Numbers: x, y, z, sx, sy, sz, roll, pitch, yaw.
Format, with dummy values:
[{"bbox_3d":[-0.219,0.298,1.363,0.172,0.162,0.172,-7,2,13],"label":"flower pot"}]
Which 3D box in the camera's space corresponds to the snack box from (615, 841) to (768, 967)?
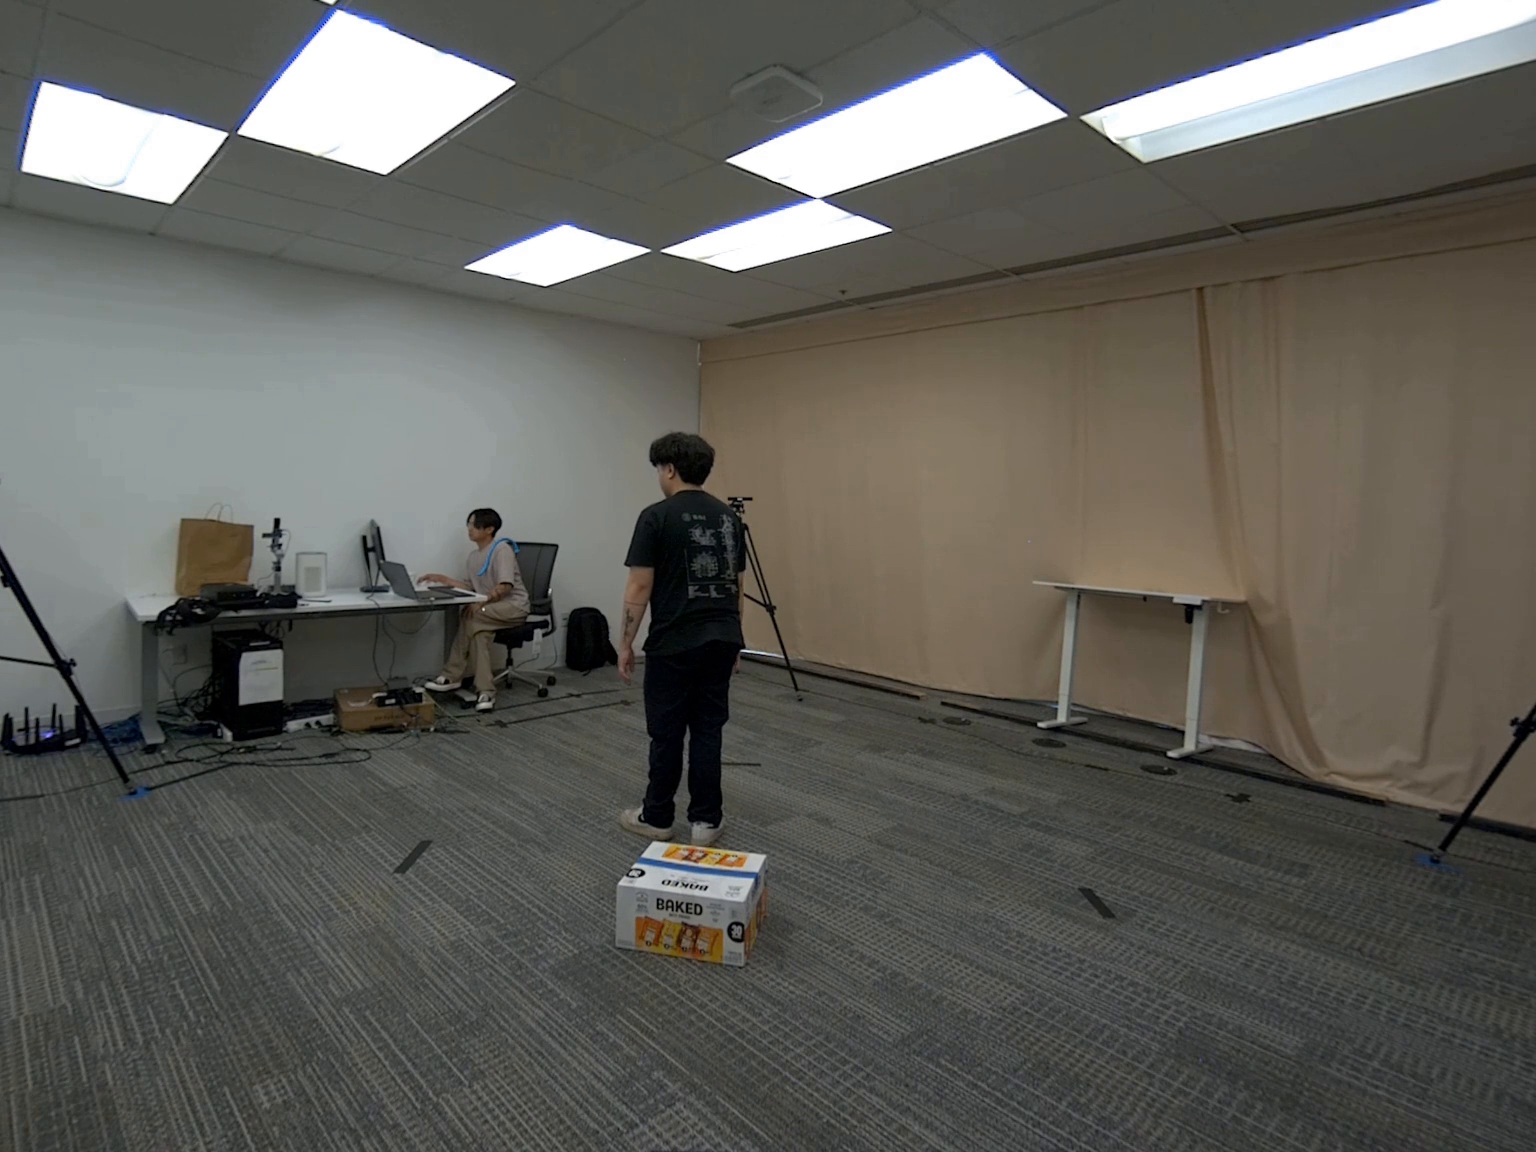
[{"bbox_3d":[-0.239,1.040,2.693,0.409,0.205,0.338,2,4,12],"label":"snack box"}]
